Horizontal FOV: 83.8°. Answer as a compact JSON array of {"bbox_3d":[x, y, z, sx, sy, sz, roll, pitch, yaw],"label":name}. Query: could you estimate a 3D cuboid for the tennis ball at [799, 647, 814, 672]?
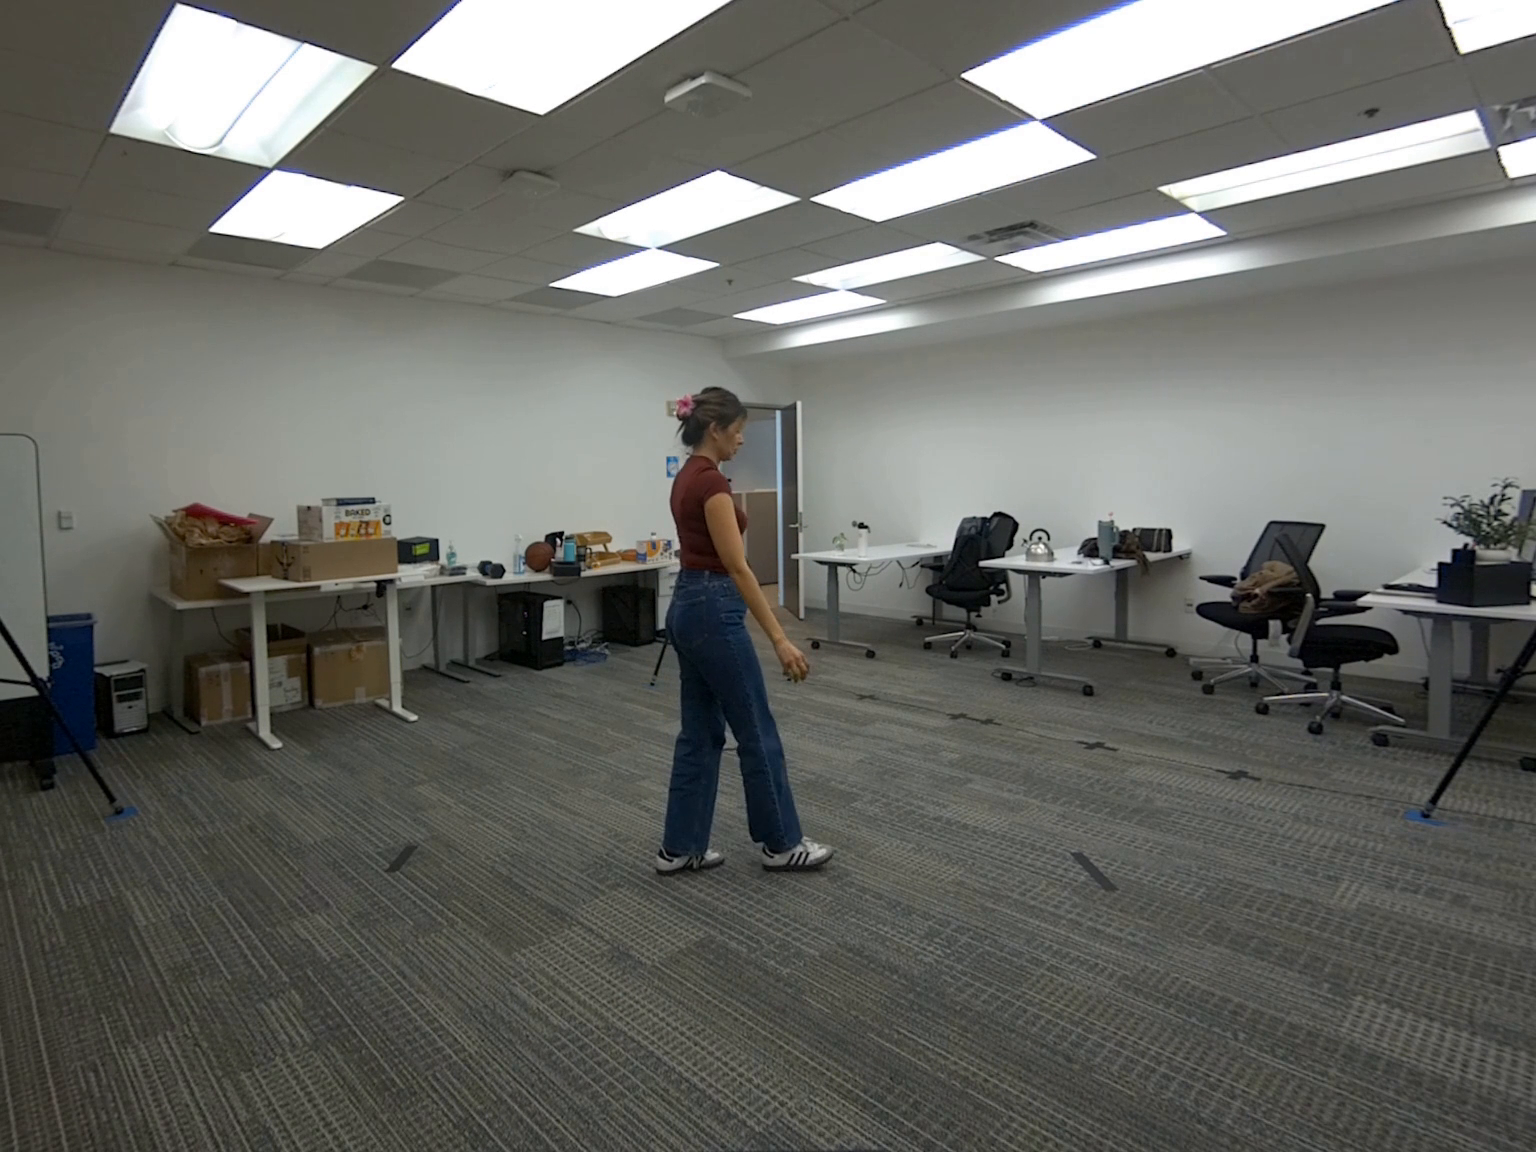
[{"bbox_3d":[0.111,0.275,2.826,0.066,0.066,0.067,-1,5,-2],"label":"tennis ball"}]
